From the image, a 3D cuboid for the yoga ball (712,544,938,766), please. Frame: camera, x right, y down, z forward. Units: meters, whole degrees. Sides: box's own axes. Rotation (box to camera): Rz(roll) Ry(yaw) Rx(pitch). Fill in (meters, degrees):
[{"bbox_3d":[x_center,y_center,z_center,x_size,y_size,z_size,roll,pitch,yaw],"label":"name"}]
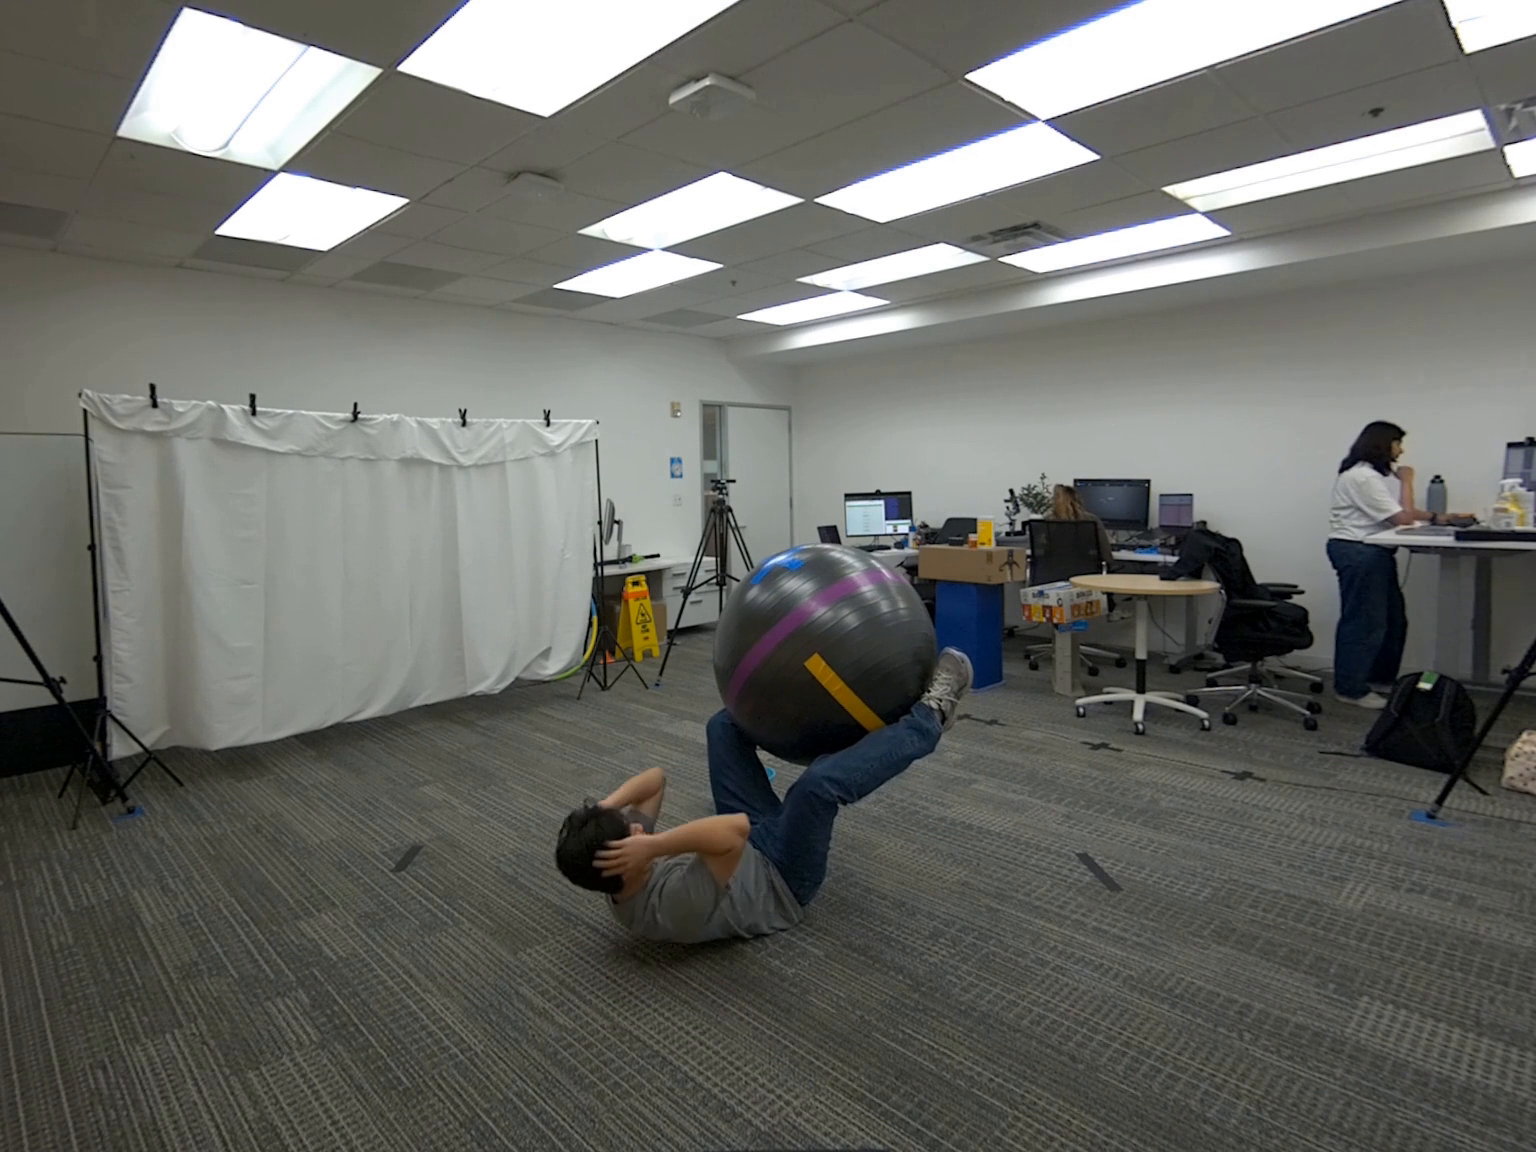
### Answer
[{"bbox_3d":[0.188,0.272,2.908,0.757,0.755,0.762,-1,5,-2],"label":"yoga ball"}]
